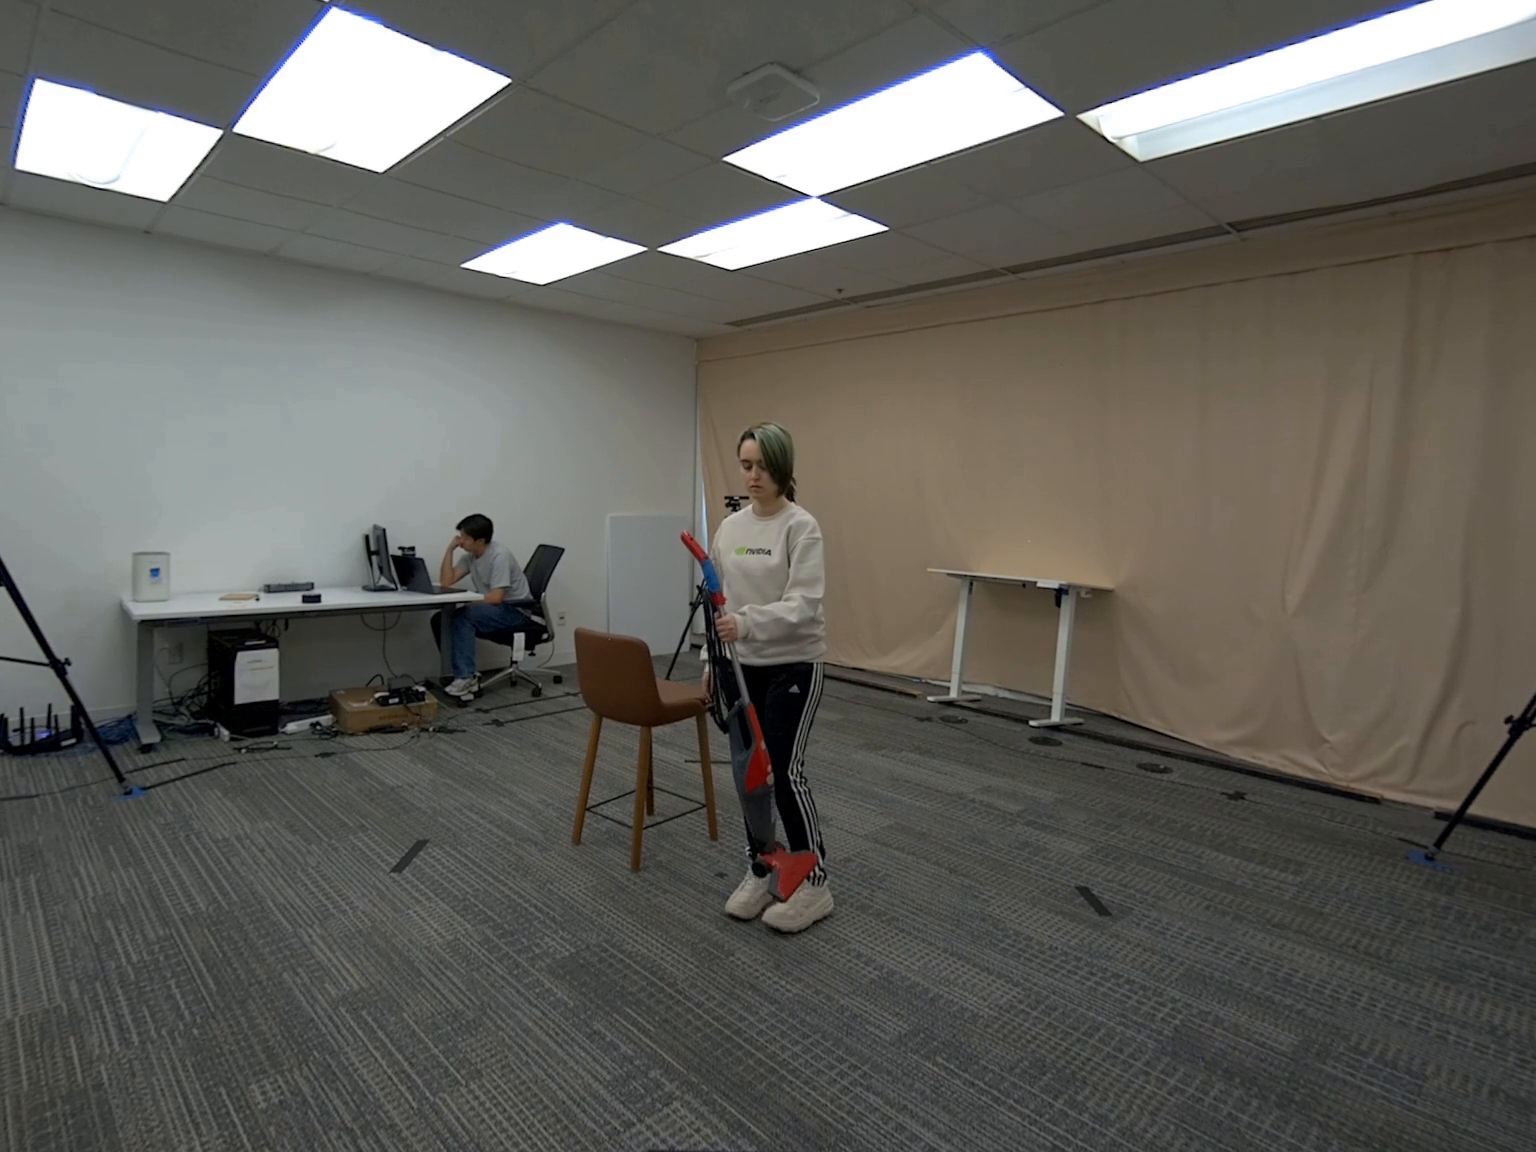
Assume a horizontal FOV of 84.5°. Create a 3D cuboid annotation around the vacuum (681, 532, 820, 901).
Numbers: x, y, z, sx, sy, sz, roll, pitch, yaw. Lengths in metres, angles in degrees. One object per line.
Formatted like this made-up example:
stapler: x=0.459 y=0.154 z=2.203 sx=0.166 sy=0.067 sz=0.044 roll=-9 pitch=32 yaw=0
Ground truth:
vacuum: x=-0.109 y=0.393 z=2.506 sx=0.146 sy=1.049 sz=0.248 roll=-15 pitch=1 yaw=36
